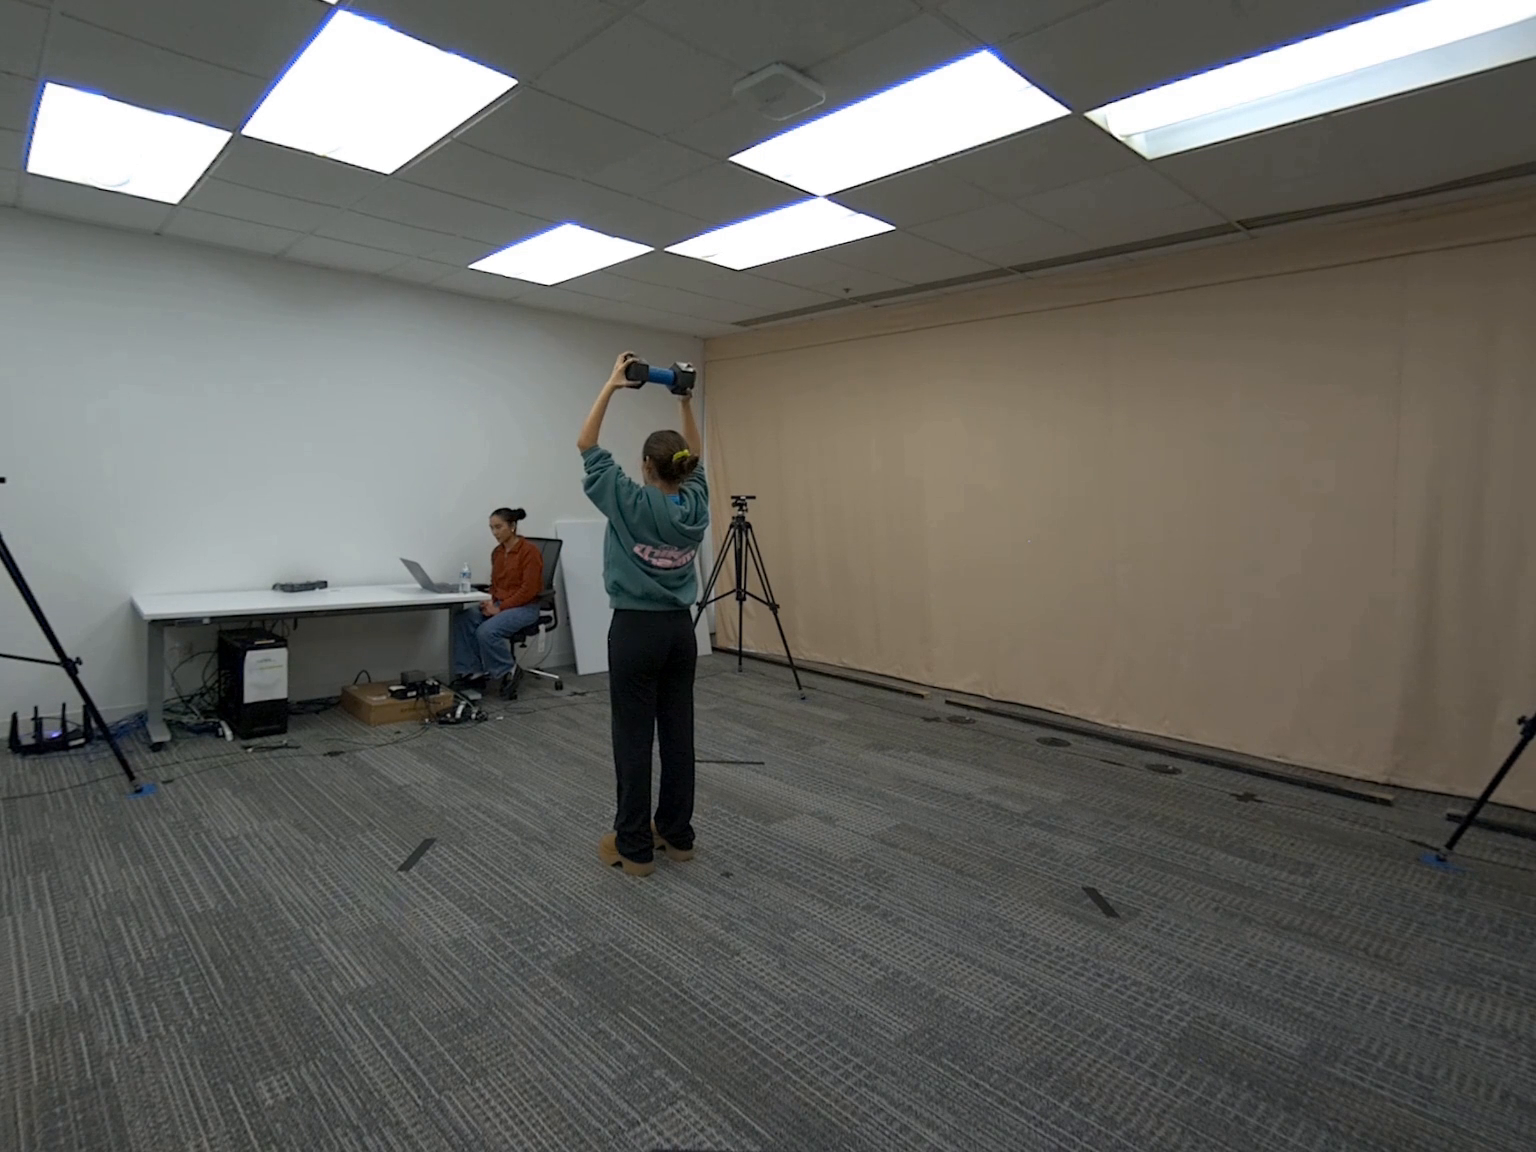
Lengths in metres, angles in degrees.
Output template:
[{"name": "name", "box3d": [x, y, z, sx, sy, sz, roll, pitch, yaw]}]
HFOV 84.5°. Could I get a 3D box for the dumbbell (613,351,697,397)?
[{"name": "dumbbell", "box3d": [-0.425, -0.759, 3.180, 0.287, 0.122, 0.112, 0, 10, -40]}]
